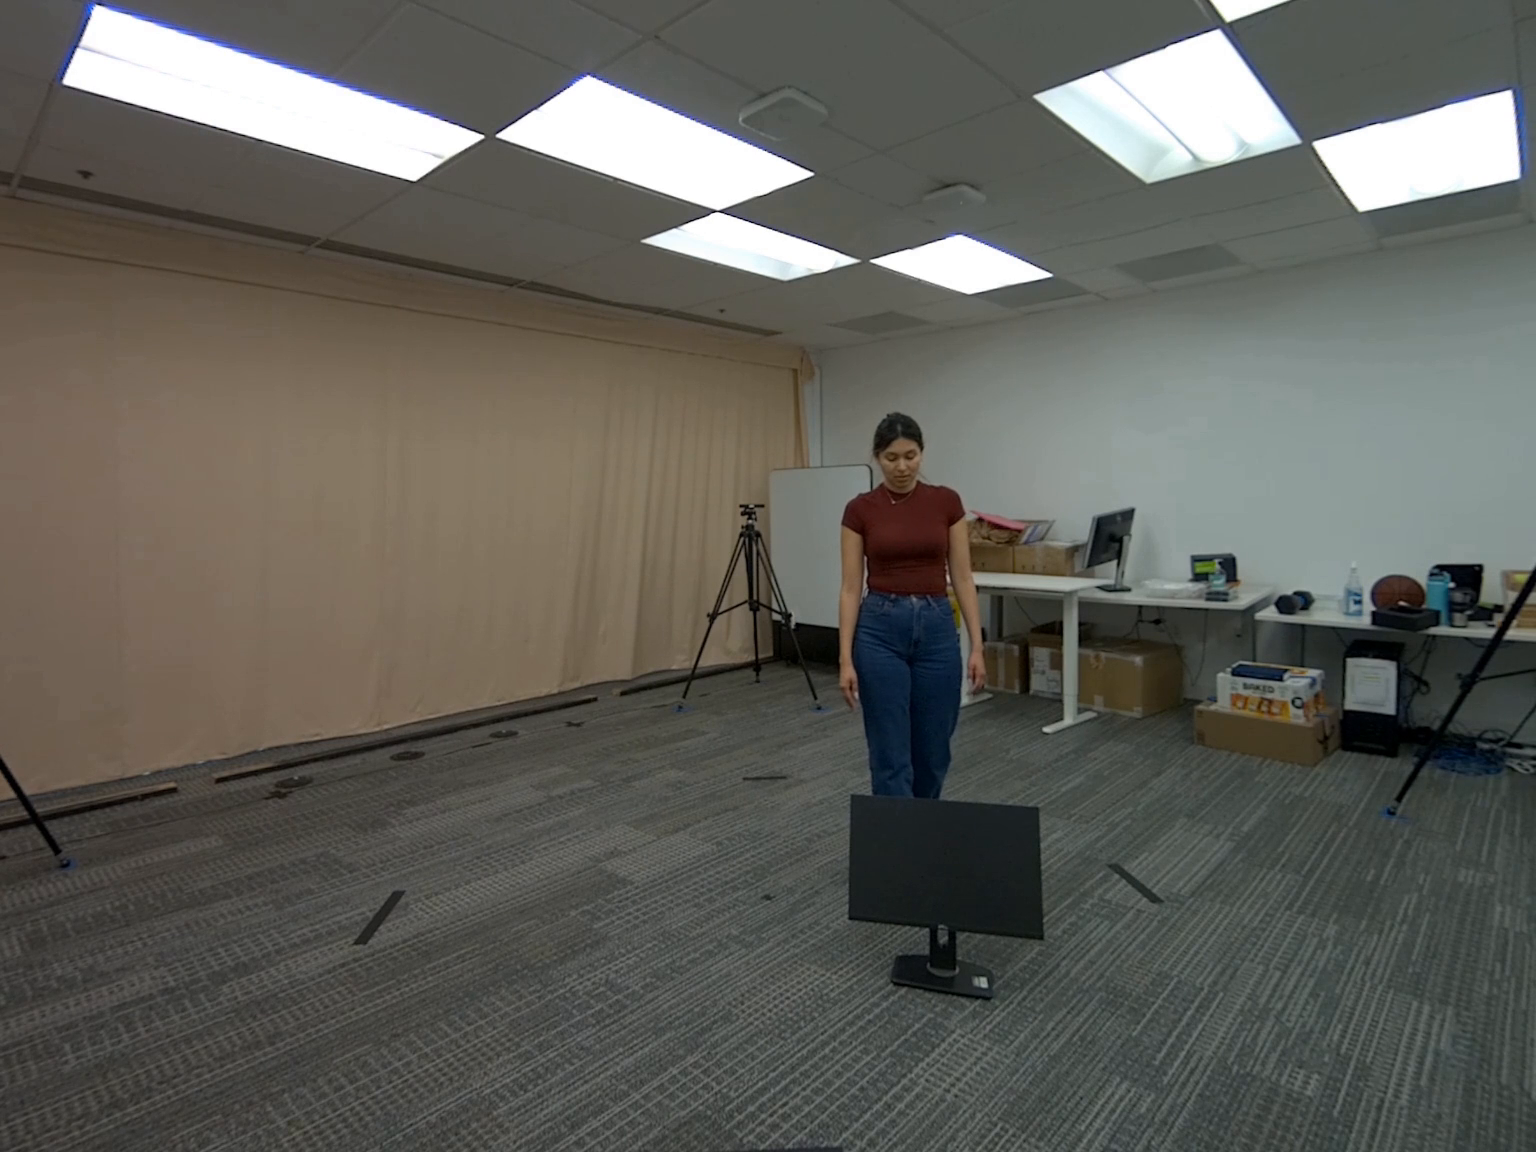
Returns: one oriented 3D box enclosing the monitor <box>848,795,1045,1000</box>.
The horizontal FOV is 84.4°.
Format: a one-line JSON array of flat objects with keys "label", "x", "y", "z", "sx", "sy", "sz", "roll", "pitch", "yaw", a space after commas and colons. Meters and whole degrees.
[{"label": "monitor", "x": 0.505, "y": 0.918, "z": 2.466, "sx": 0.547, "sy": 0.522, "sz": 0.184, "roll": 0, "pitch": 0, "yaw": 13}]
